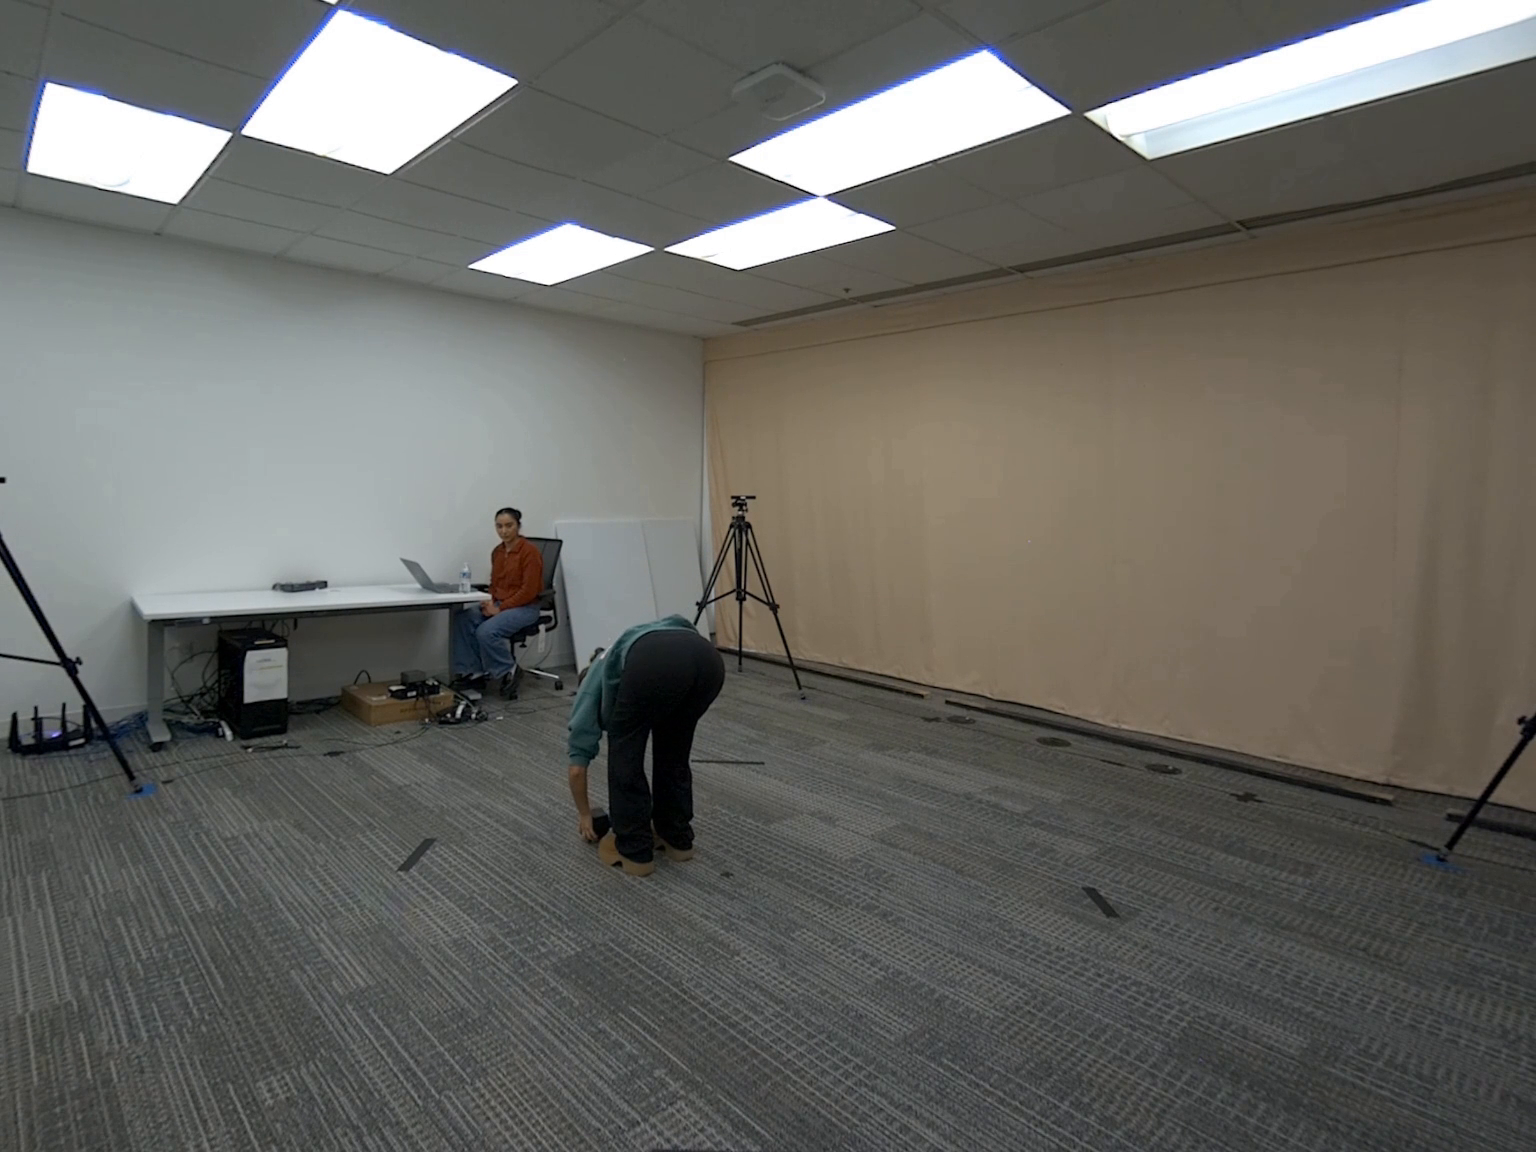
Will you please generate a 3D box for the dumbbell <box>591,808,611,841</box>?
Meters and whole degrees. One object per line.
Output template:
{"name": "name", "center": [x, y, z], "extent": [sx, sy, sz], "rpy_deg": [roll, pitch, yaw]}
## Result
{"name": "dumbbell", "center": [-0.618, 0.997, 3.434], "extent": [0.287, 0.124, 0.110], "rpy_deg": [-1, -12, -40]}
